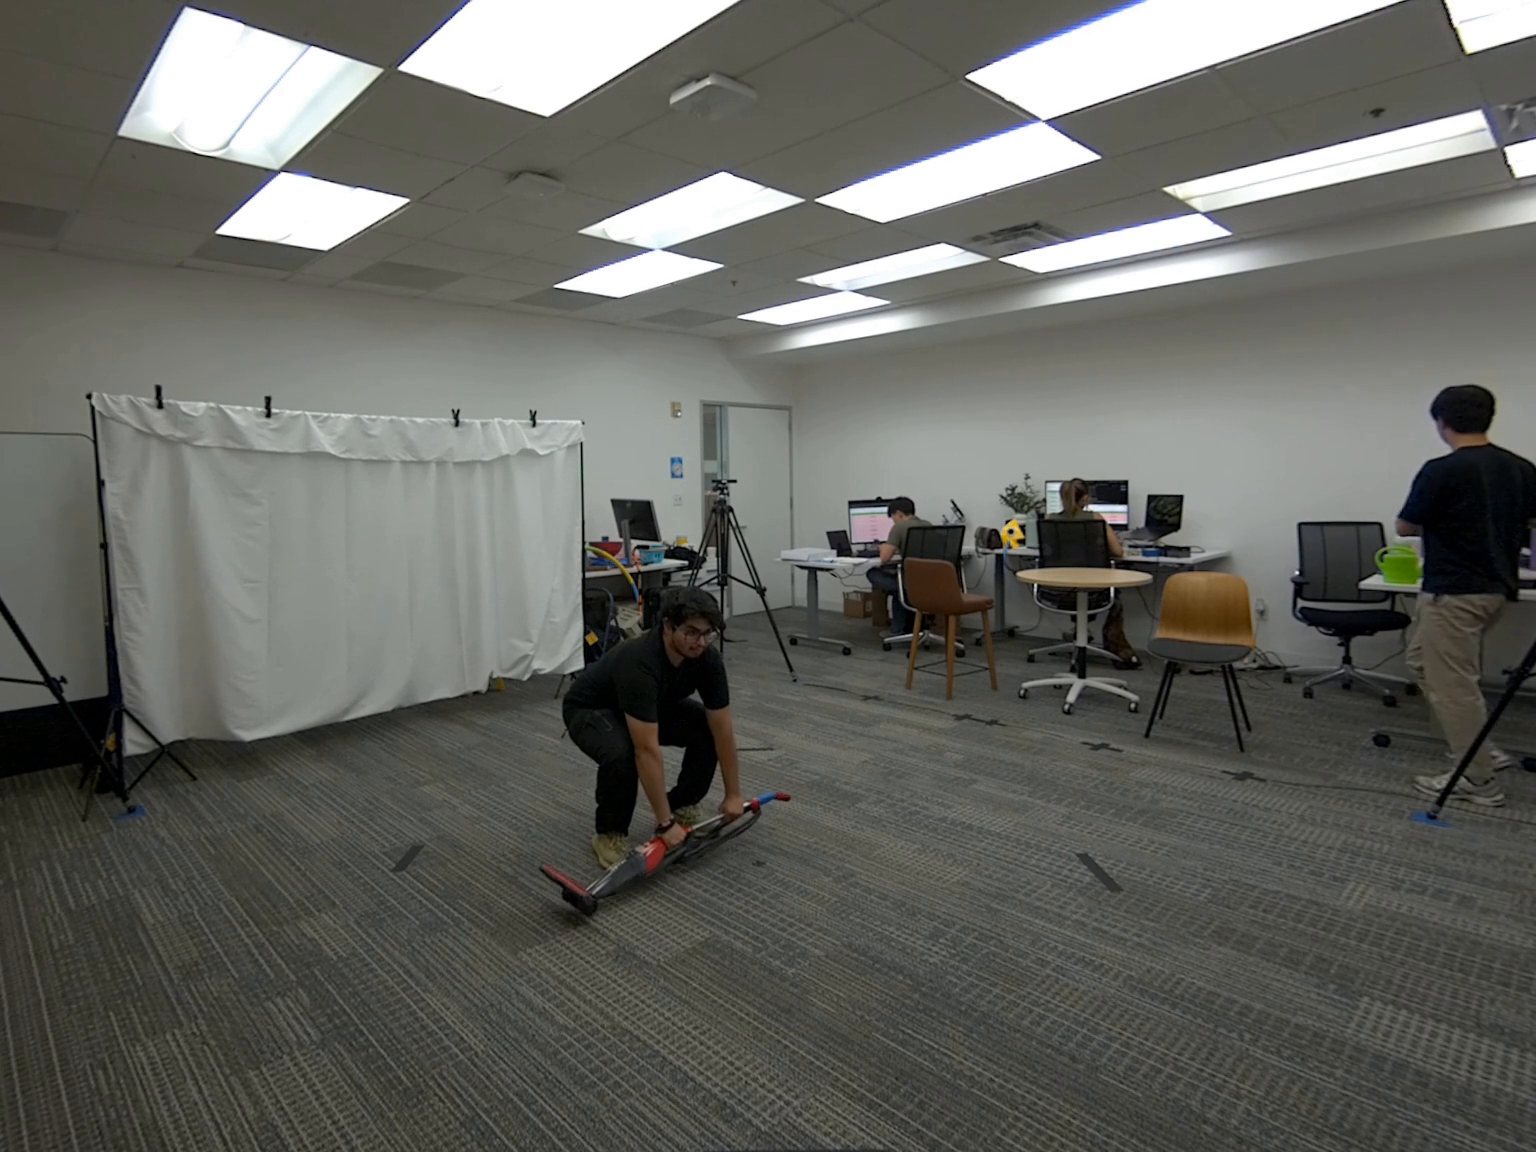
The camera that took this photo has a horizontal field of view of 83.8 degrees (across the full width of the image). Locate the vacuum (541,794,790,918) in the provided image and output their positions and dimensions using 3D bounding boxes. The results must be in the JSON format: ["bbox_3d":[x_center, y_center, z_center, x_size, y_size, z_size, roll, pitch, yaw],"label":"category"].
[{"bbox_3d":[-0.267,0.956,3.083,0.261,0.143,1.023,10,13,43],"label":"vacuum"}]
